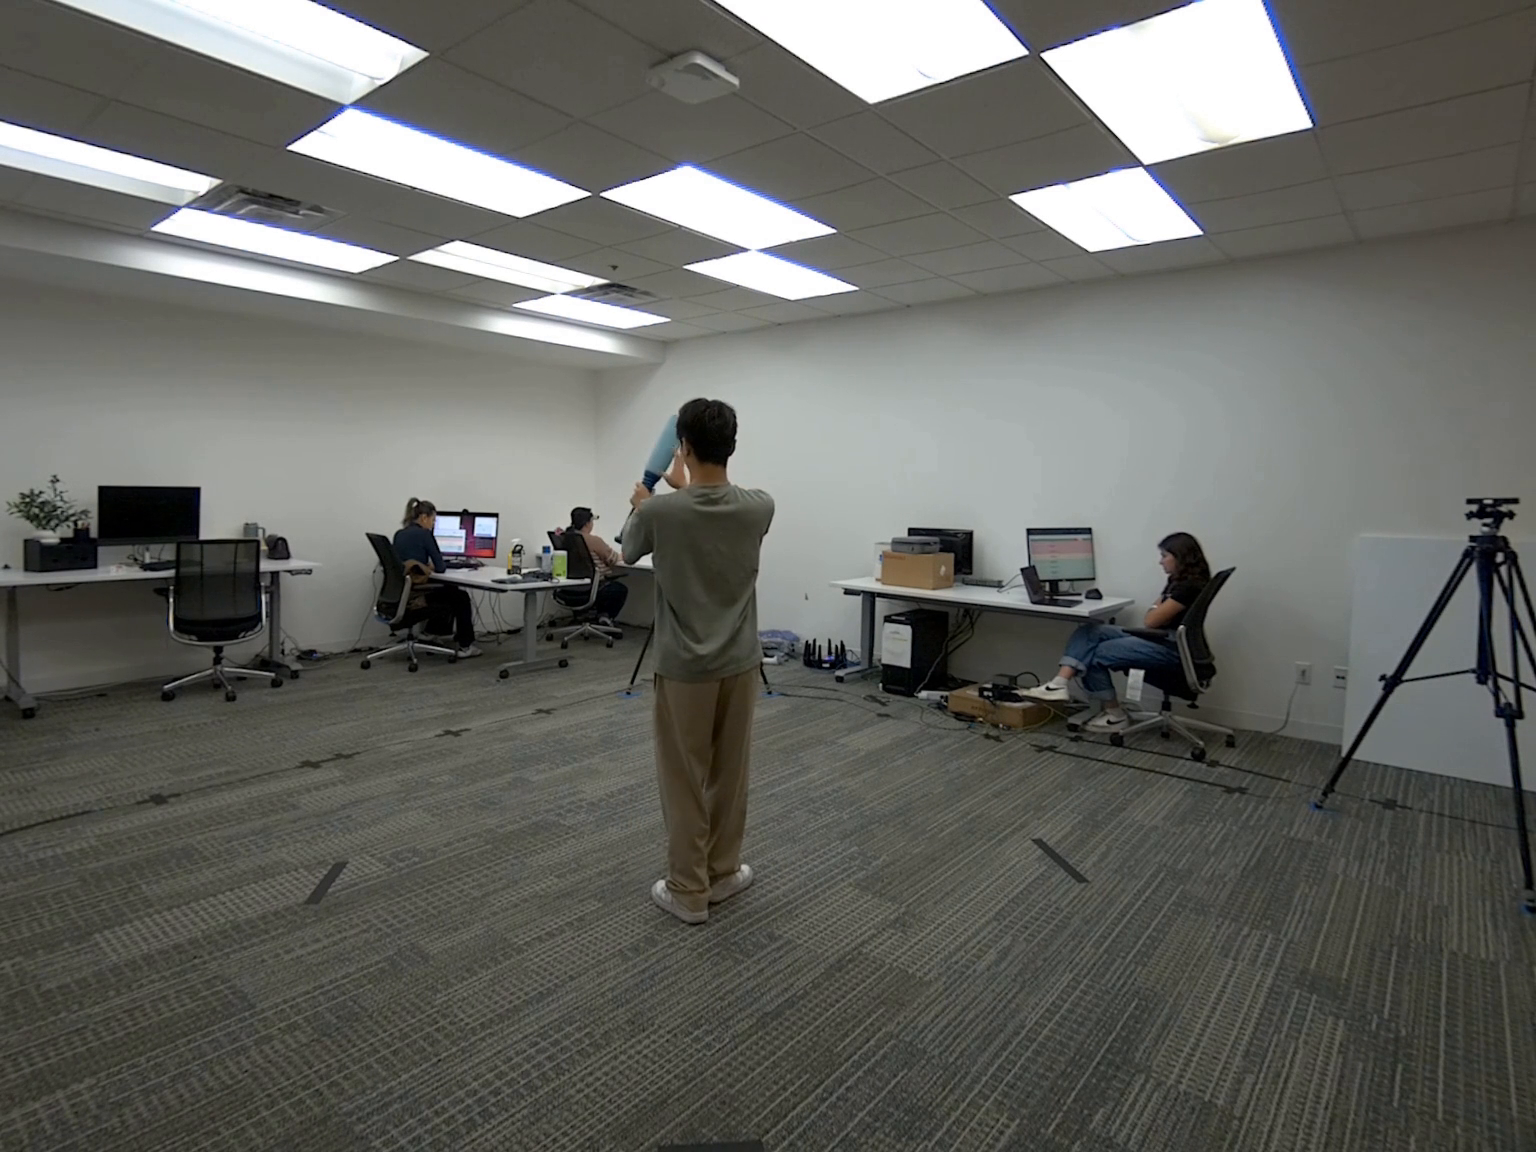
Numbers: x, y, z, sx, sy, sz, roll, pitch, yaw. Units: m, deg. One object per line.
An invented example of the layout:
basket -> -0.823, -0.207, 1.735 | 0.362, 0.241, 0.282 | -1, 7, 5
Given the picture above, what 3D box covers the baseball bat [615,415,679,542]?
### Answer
baseball bat -> -0.450, -0.358, 3.231 | 0.089, 0.545, 0.088 | 24, -8, 2
